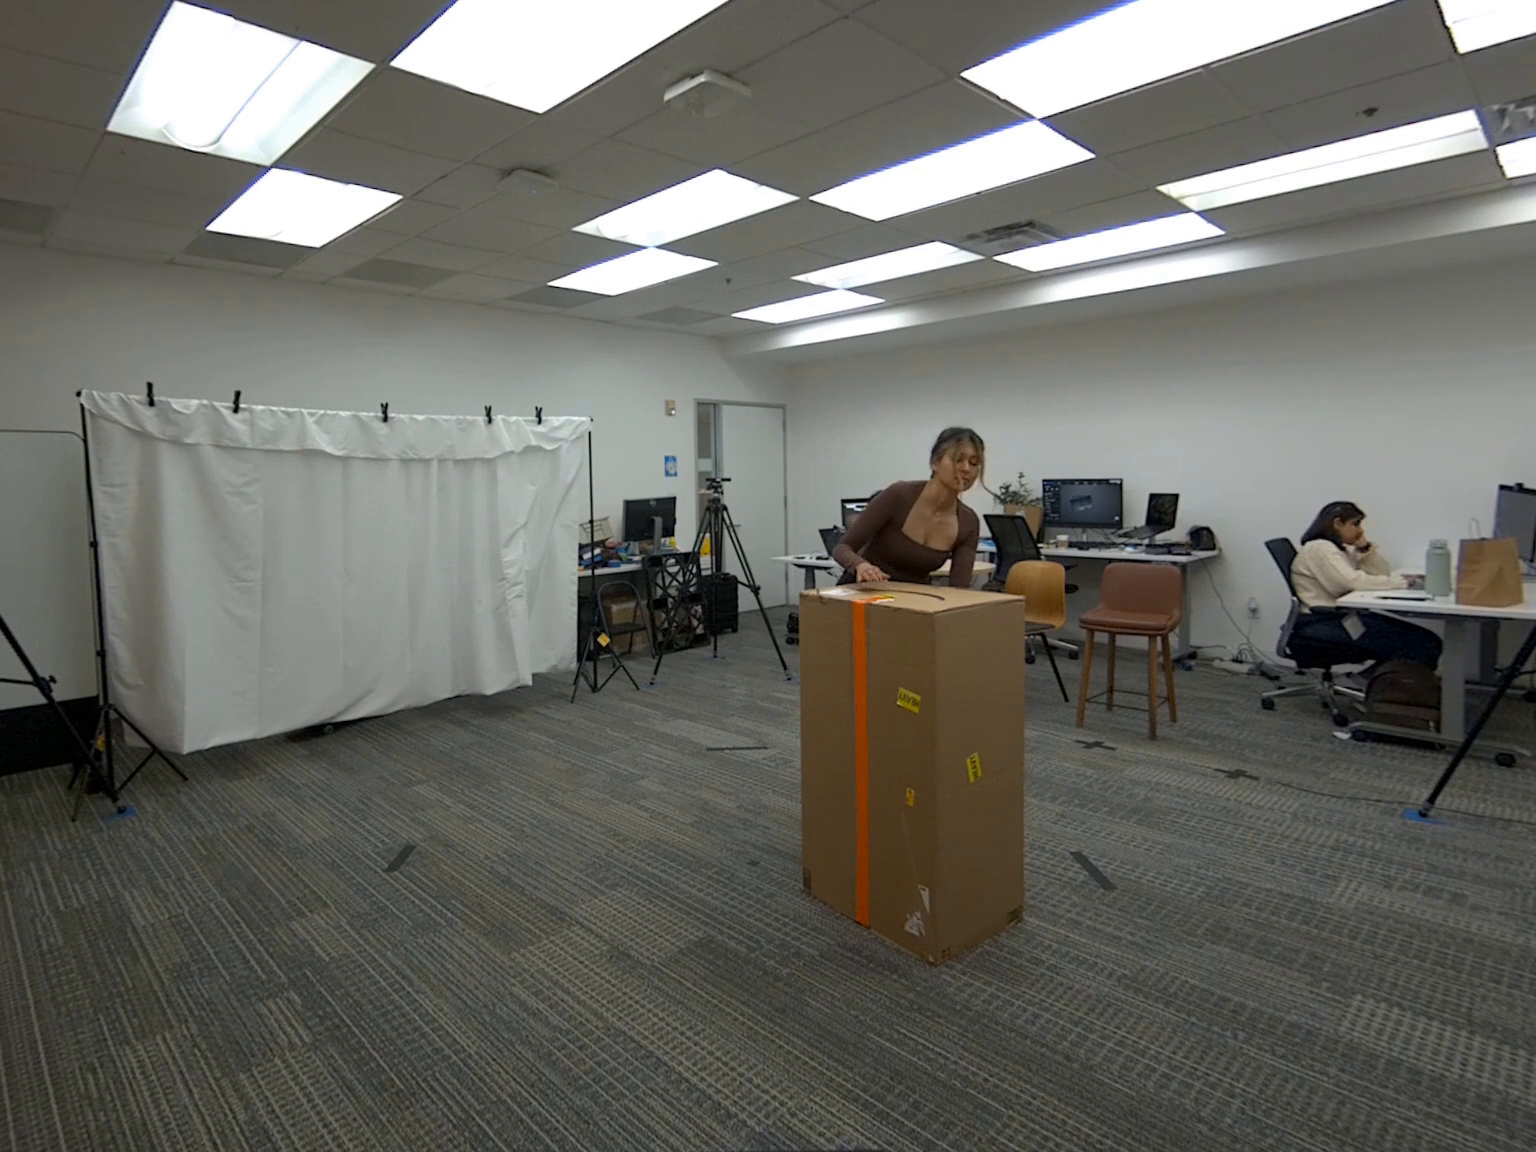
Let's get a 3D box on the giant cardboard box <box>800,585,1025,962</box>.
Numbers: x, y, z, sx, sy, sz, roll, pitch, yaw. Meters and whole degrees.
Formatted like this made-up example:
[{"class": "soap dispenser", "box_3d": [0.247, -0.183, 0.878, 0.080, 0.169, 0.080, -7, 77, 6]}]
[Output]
[{"class": "giant cardboard box", "box_3d": [0.451, 0.565, 2.745, 0.435, 1.023, 0.601, -5, 6, -37]}]
